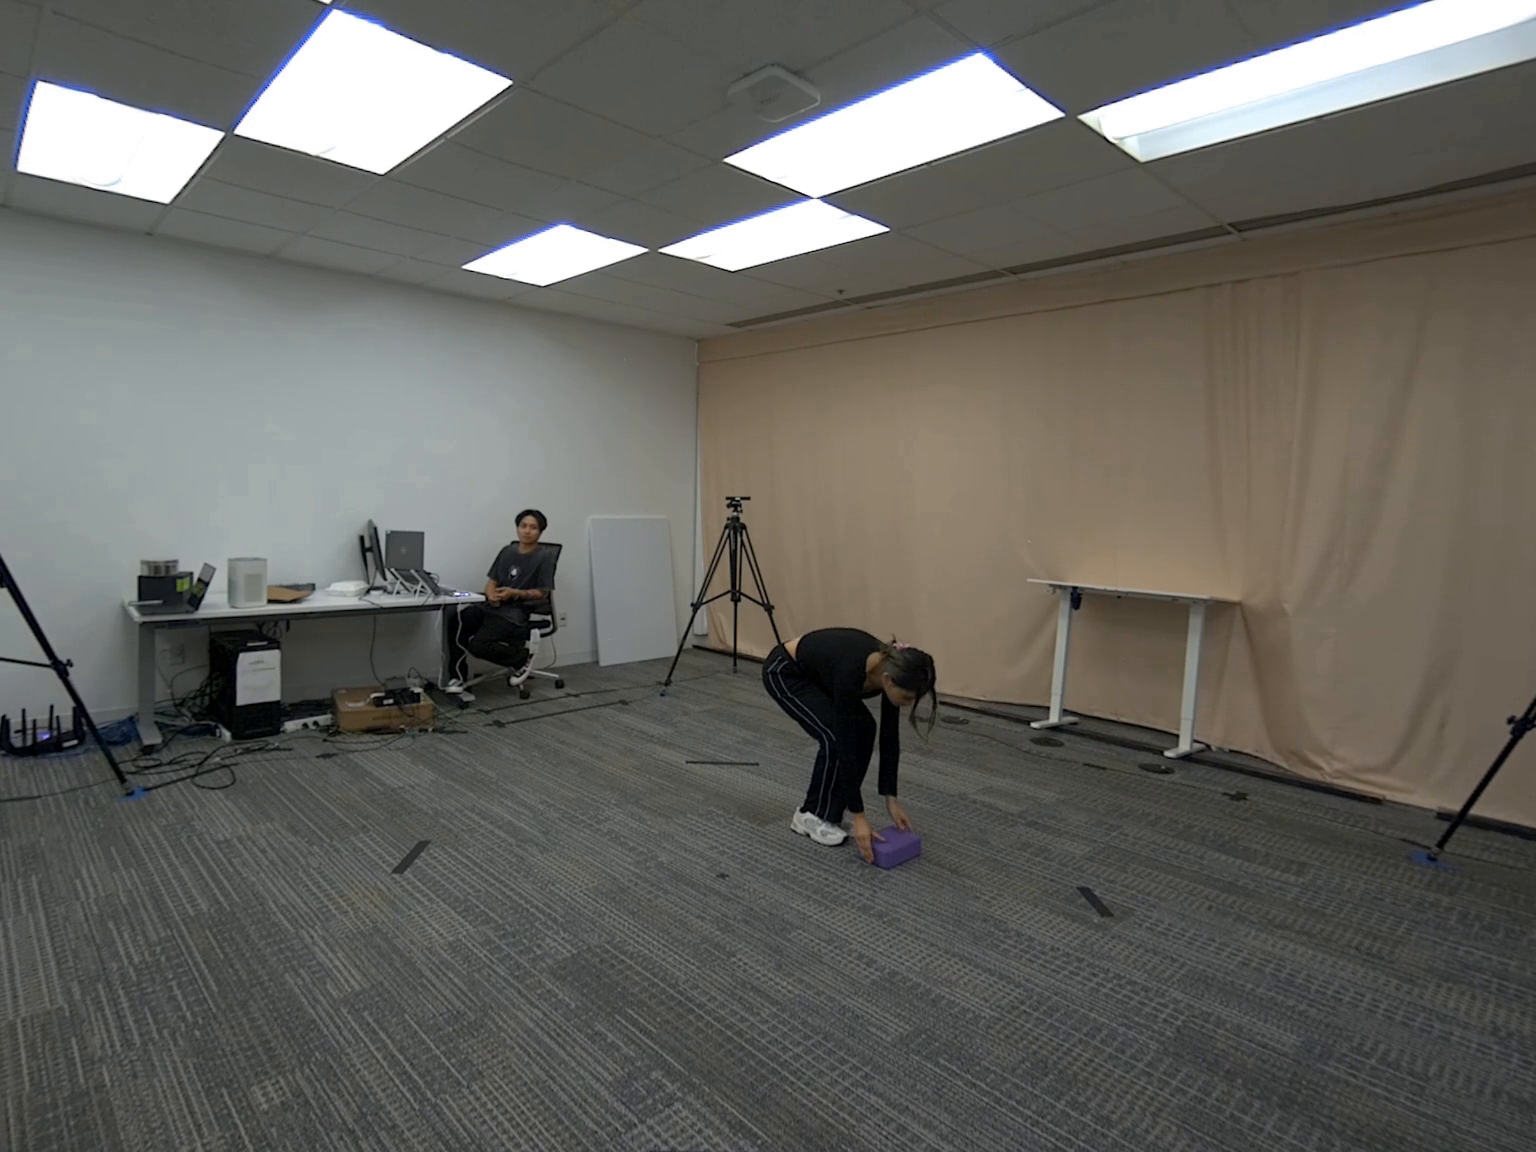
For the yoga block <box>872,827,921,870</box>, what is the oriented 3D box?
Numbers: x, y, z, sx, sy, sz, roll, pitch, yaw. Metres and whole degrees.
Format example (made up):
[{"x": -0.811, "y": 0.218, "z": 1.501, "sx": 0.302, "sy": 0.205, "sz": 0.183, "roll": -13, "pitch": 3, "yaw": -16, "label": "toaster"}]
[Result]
[{"x": 0.464, "y": 1.060, "z": 3.307, "sx": 0.153, "sy": 0.076, "sz": 0.224, "roll": 8, "pitch": 9, "yaw": 44, "label": "yoga block"}]
